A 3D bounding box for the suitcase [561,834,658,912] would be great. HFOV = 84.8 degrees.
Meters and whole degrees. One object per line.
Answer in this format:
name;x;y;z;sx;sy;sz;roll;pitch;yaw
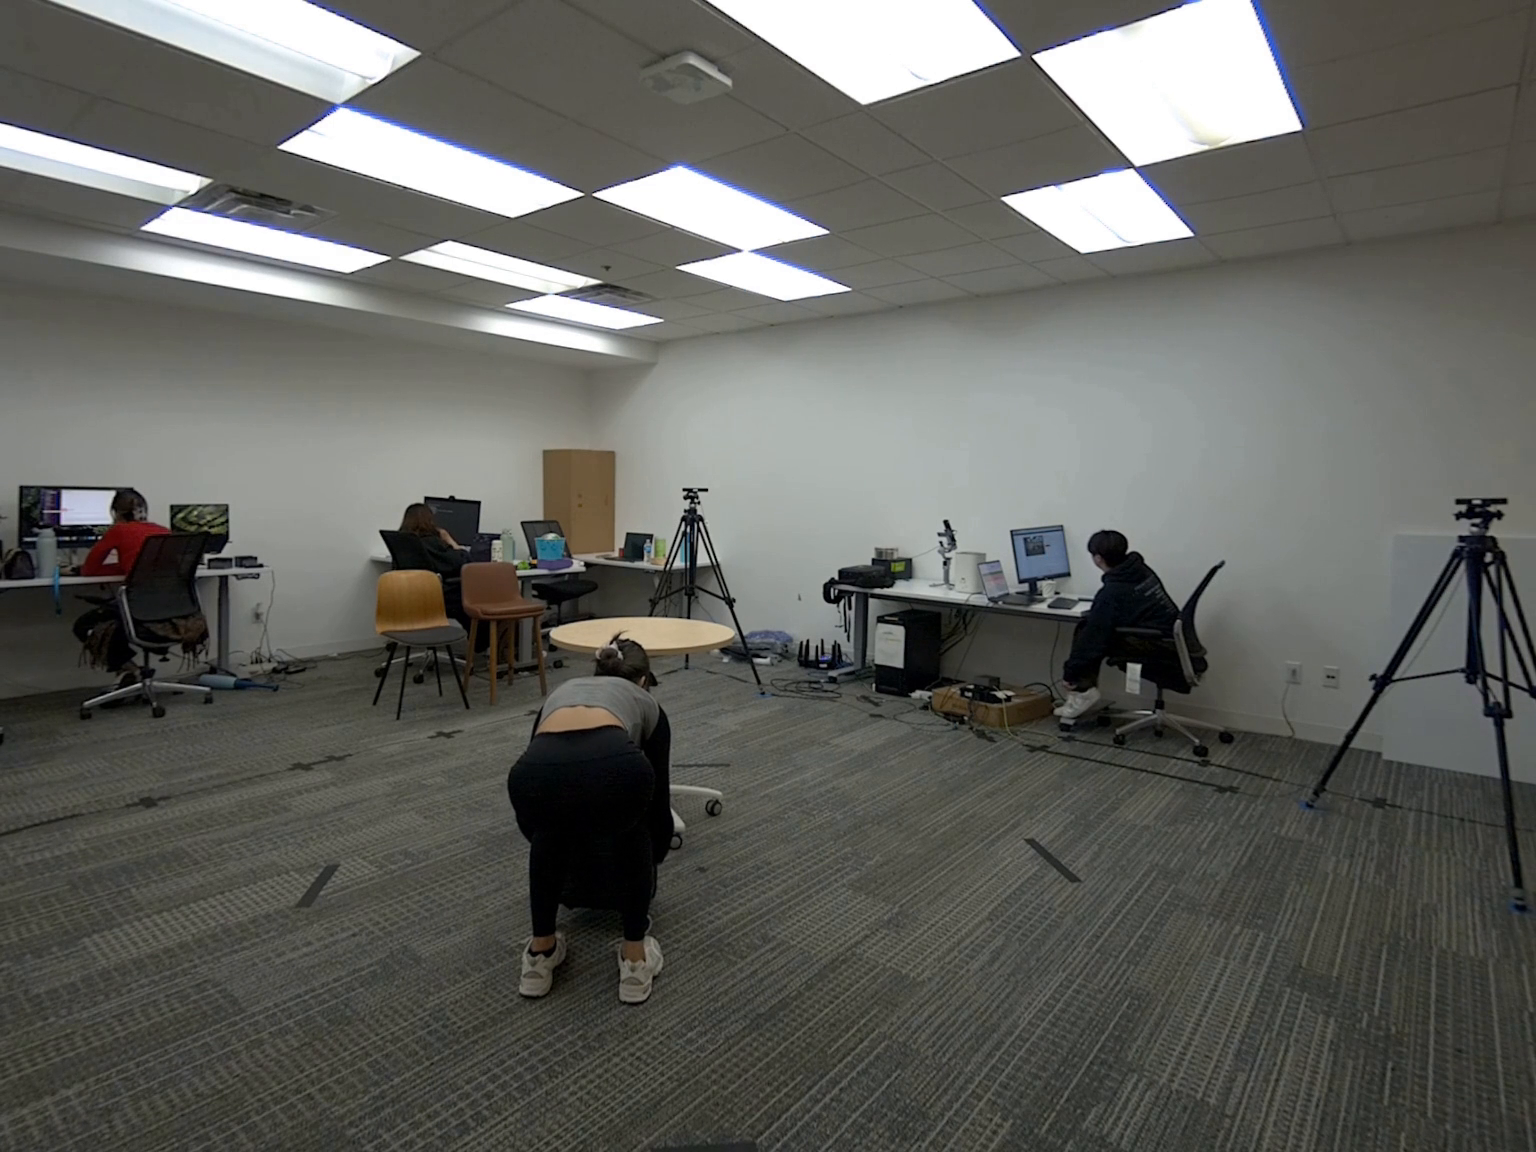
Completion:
suitcase;-0.538;0.811;2.747;0.377;0.545;0.249;4;8;2
